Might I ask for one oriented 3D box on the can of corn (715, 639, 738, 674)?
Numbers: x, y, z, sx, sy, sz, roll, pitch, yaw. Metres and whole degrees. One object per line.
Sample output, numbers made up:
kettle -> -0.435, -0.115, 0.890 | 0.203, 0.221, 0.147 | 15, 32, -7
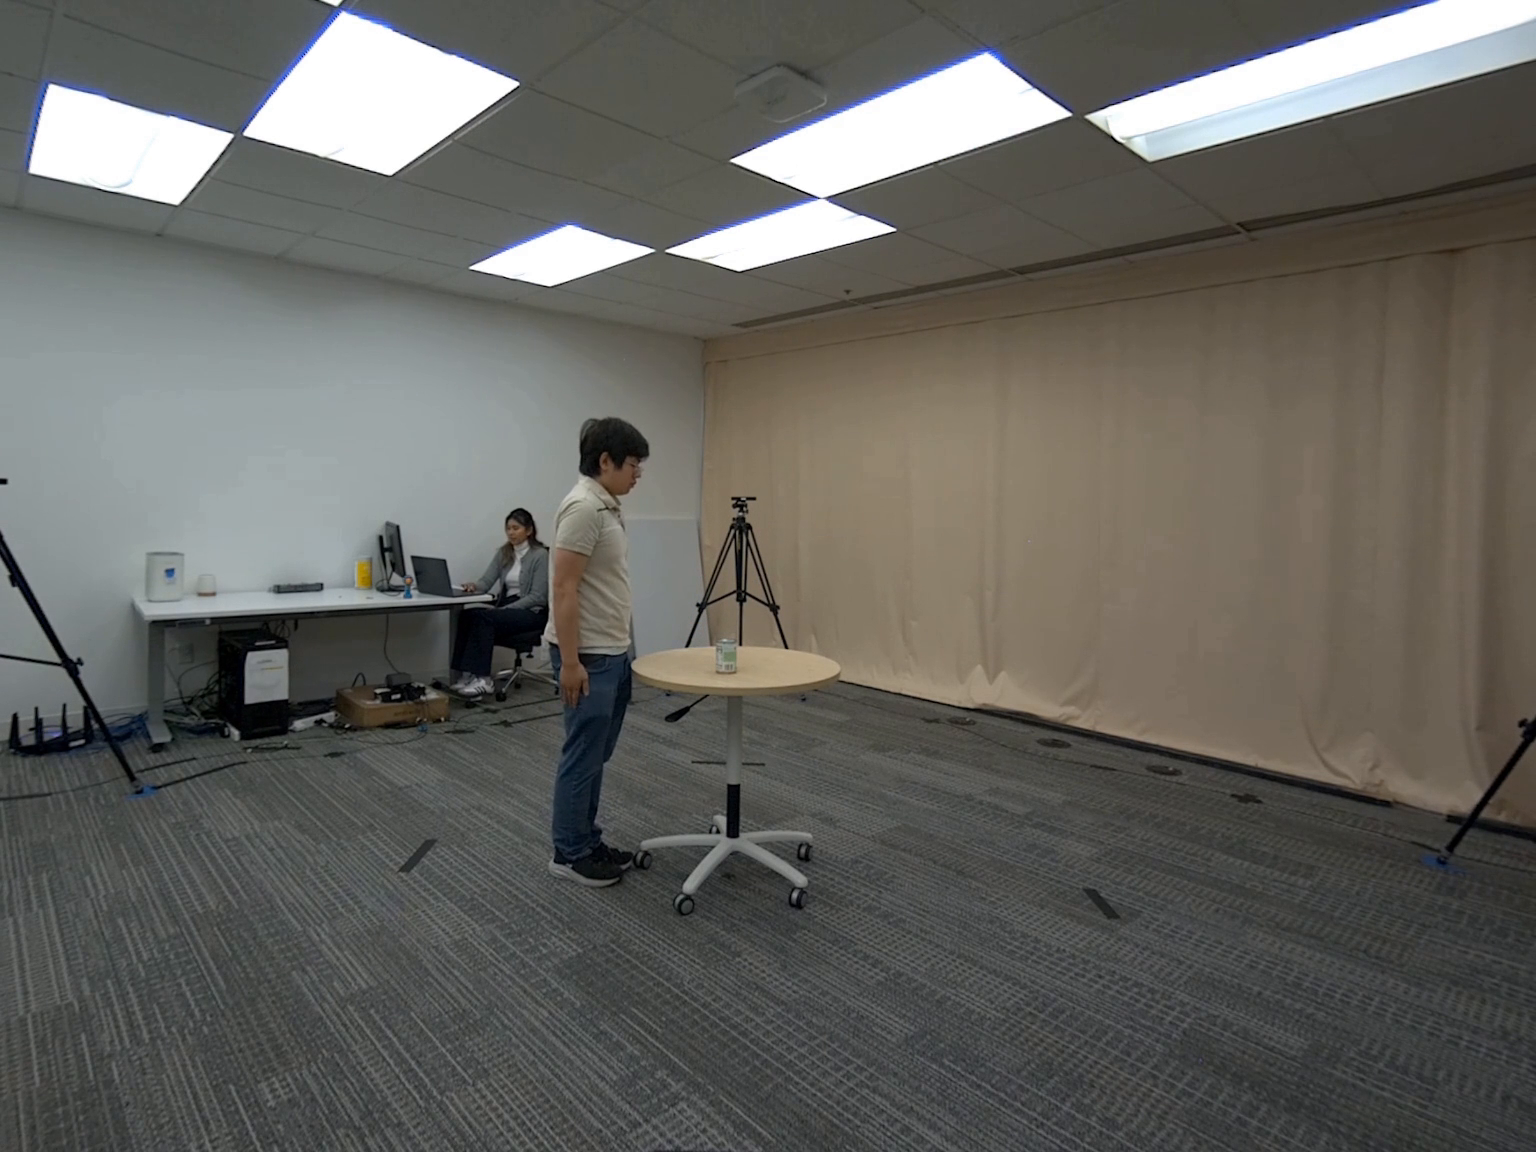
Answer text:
can of corn -> -0.155, 0.285, 2.937 | 0.074, 0.110, 0.075 | -1, 8, -1
